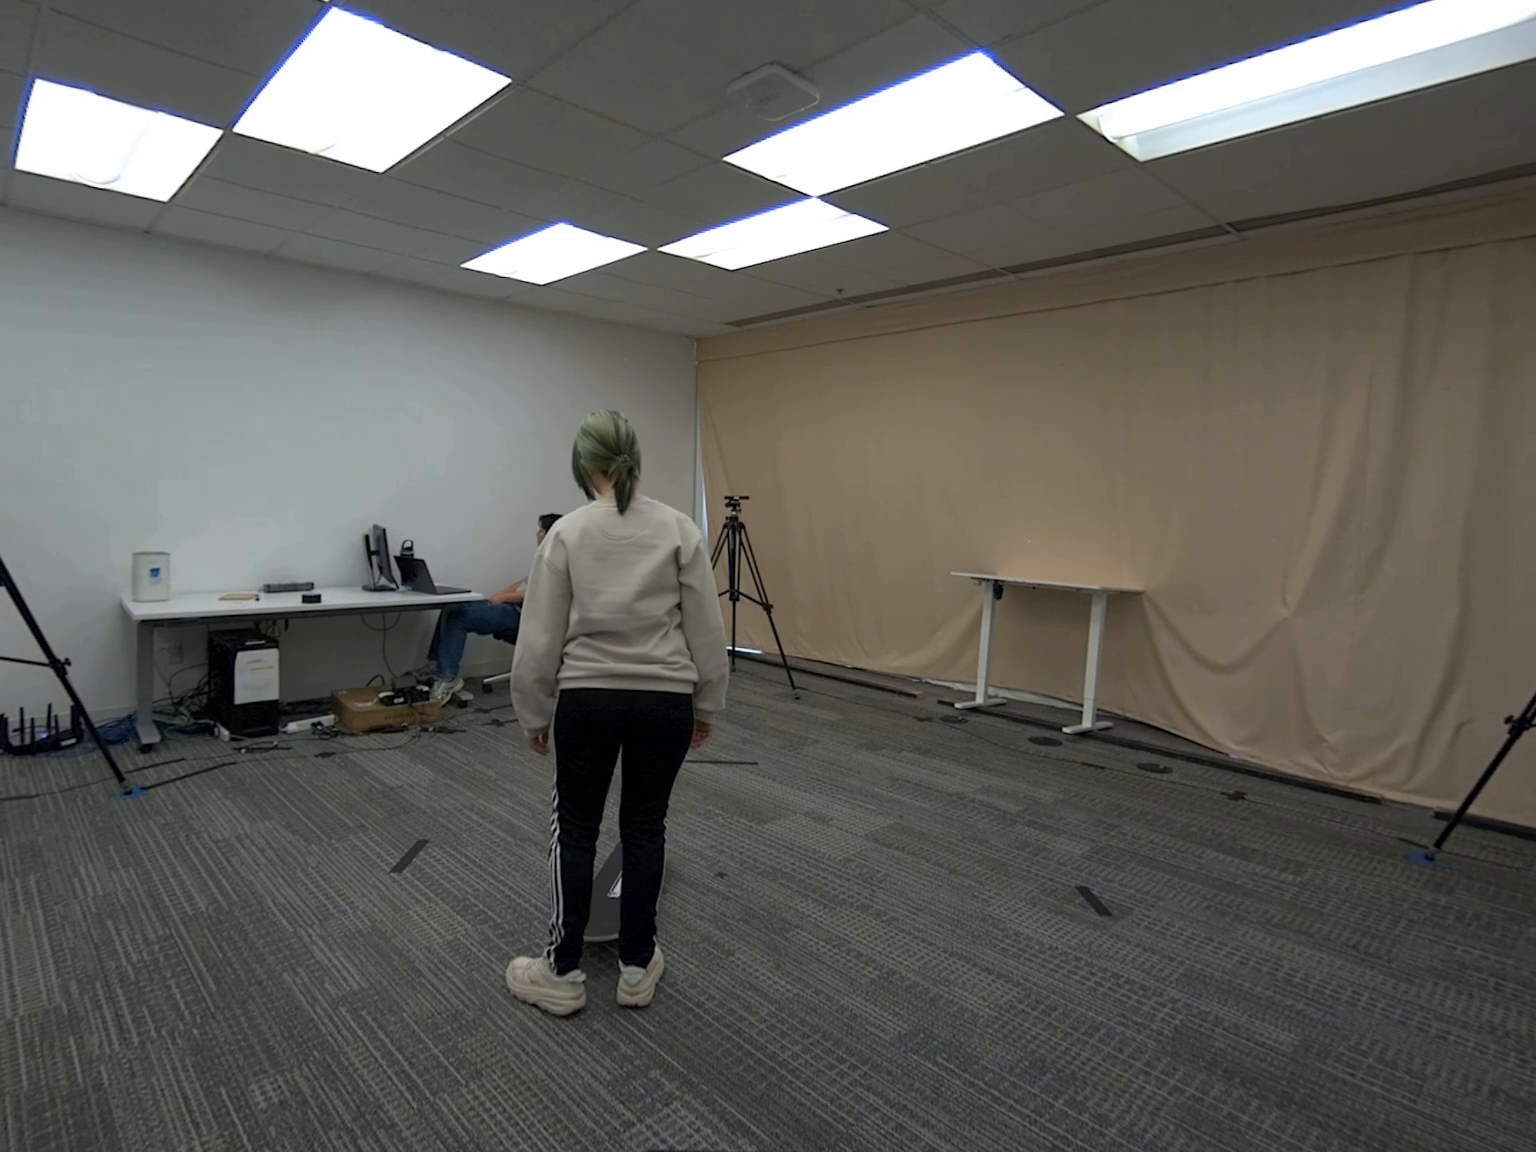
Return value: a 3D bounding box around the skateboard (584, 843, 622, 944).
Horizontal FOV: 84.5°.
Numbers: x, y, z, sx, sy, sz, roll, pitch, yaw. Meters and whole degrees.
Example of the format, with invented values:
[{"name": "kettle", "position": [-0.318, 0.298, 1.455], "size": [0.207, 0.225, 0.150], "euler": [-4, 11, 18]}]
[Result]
[{"name": "skateboard", "position": [-0.512, 1.075, 2.844], "size": [0.194, 0.110, 0.784], "euler": [1, 6, 4]}]
